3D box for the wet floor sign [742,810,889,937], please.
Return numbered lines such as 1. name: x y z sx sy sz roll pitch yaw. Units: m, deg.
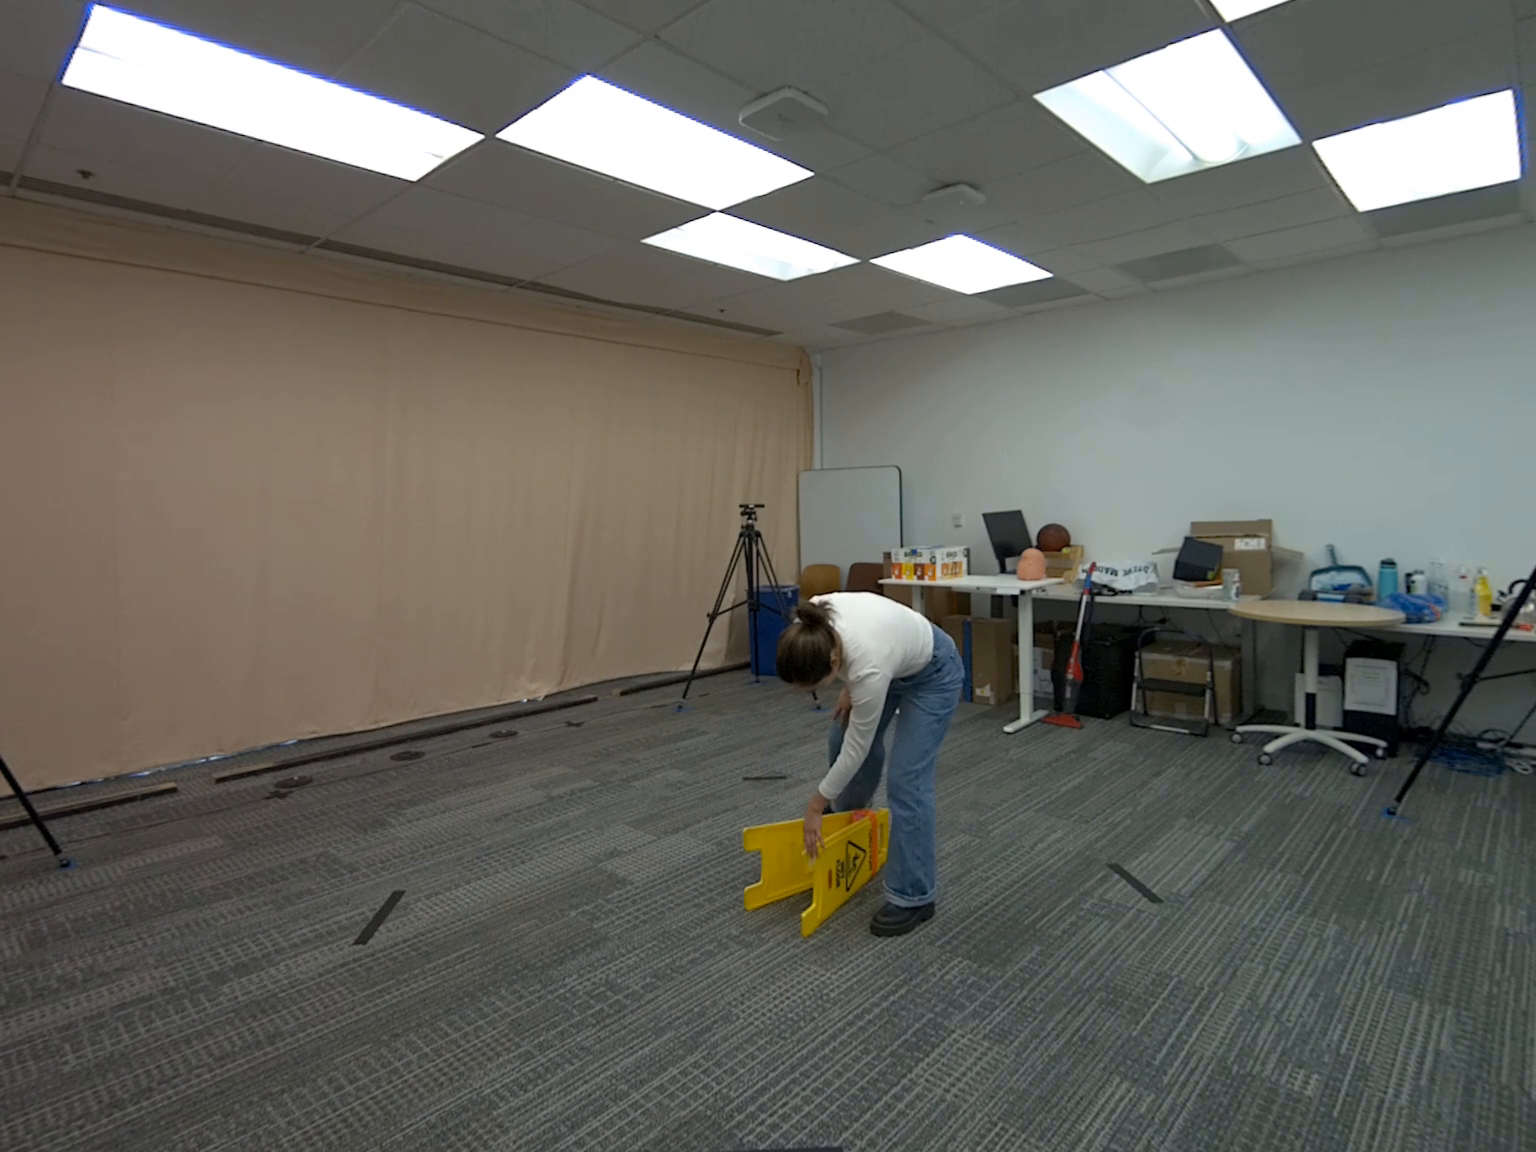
1. wet floor sign: 0.237 1.003 3.013 0.299 0.282 0.626 4 5 45
